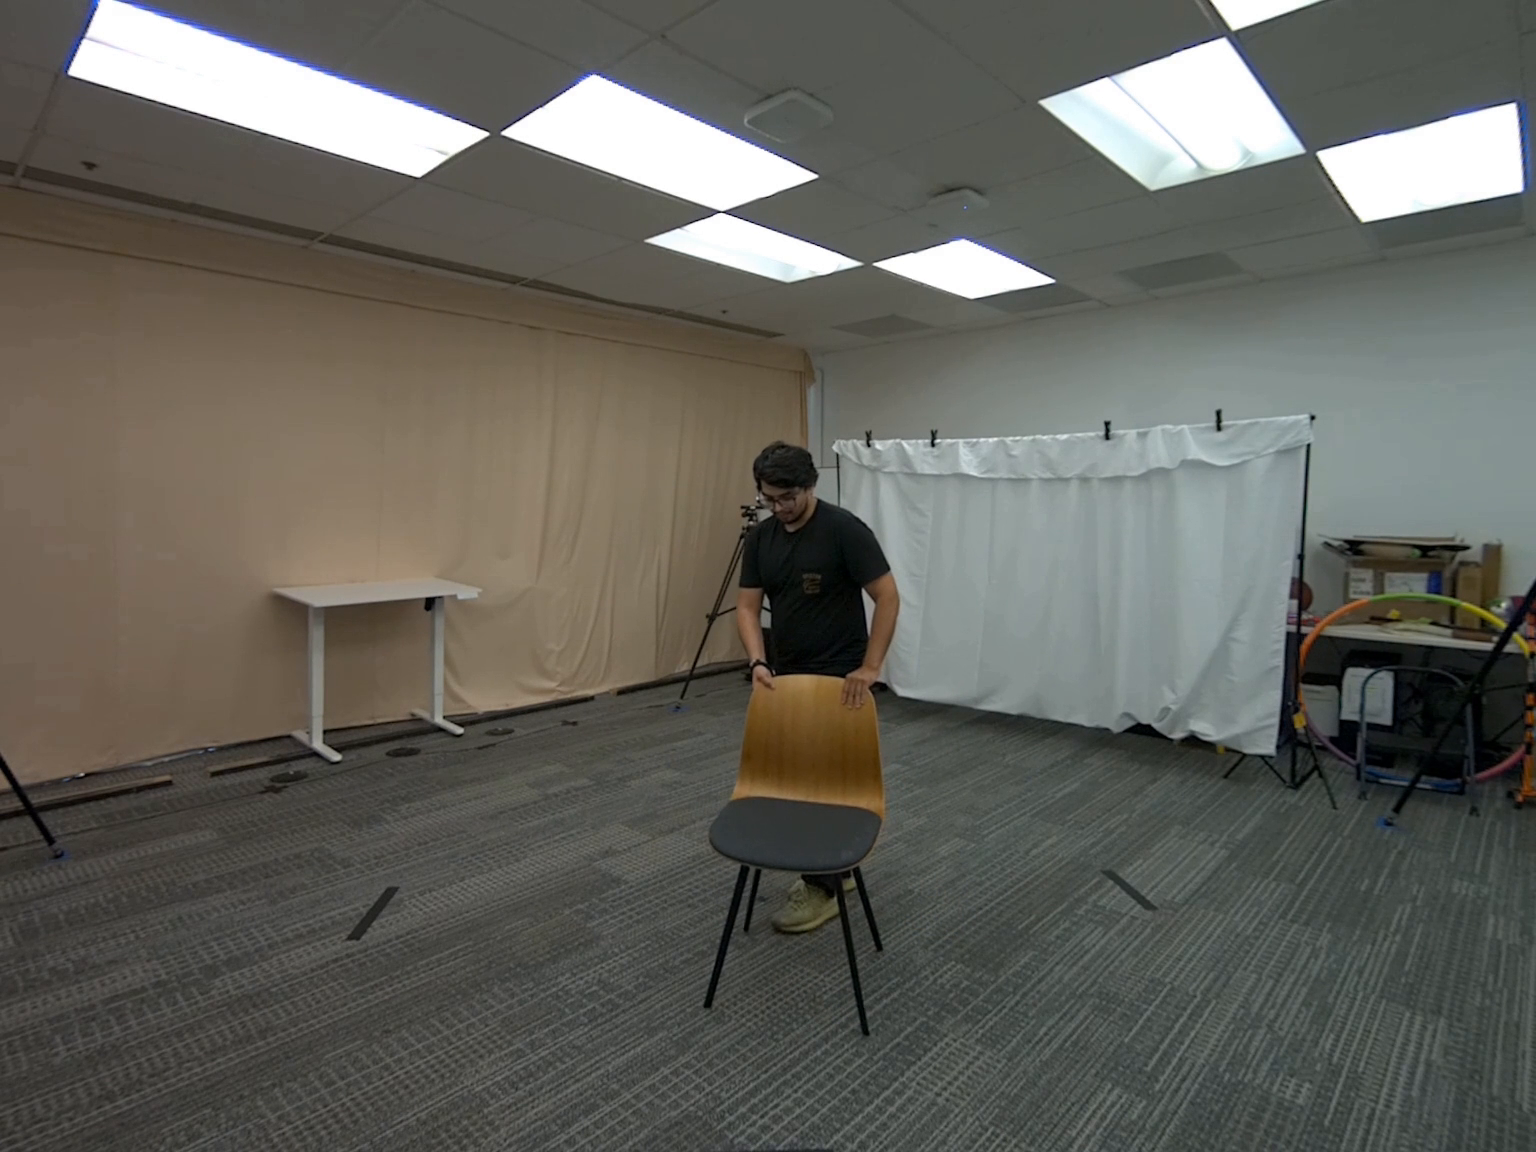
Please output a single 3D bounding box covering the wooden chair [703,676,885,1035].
[{"bbox_3d":[0.098,0.755,2.448,0.486,0.878,0.514,1,-1,14],"label":"wooden chair"}]
